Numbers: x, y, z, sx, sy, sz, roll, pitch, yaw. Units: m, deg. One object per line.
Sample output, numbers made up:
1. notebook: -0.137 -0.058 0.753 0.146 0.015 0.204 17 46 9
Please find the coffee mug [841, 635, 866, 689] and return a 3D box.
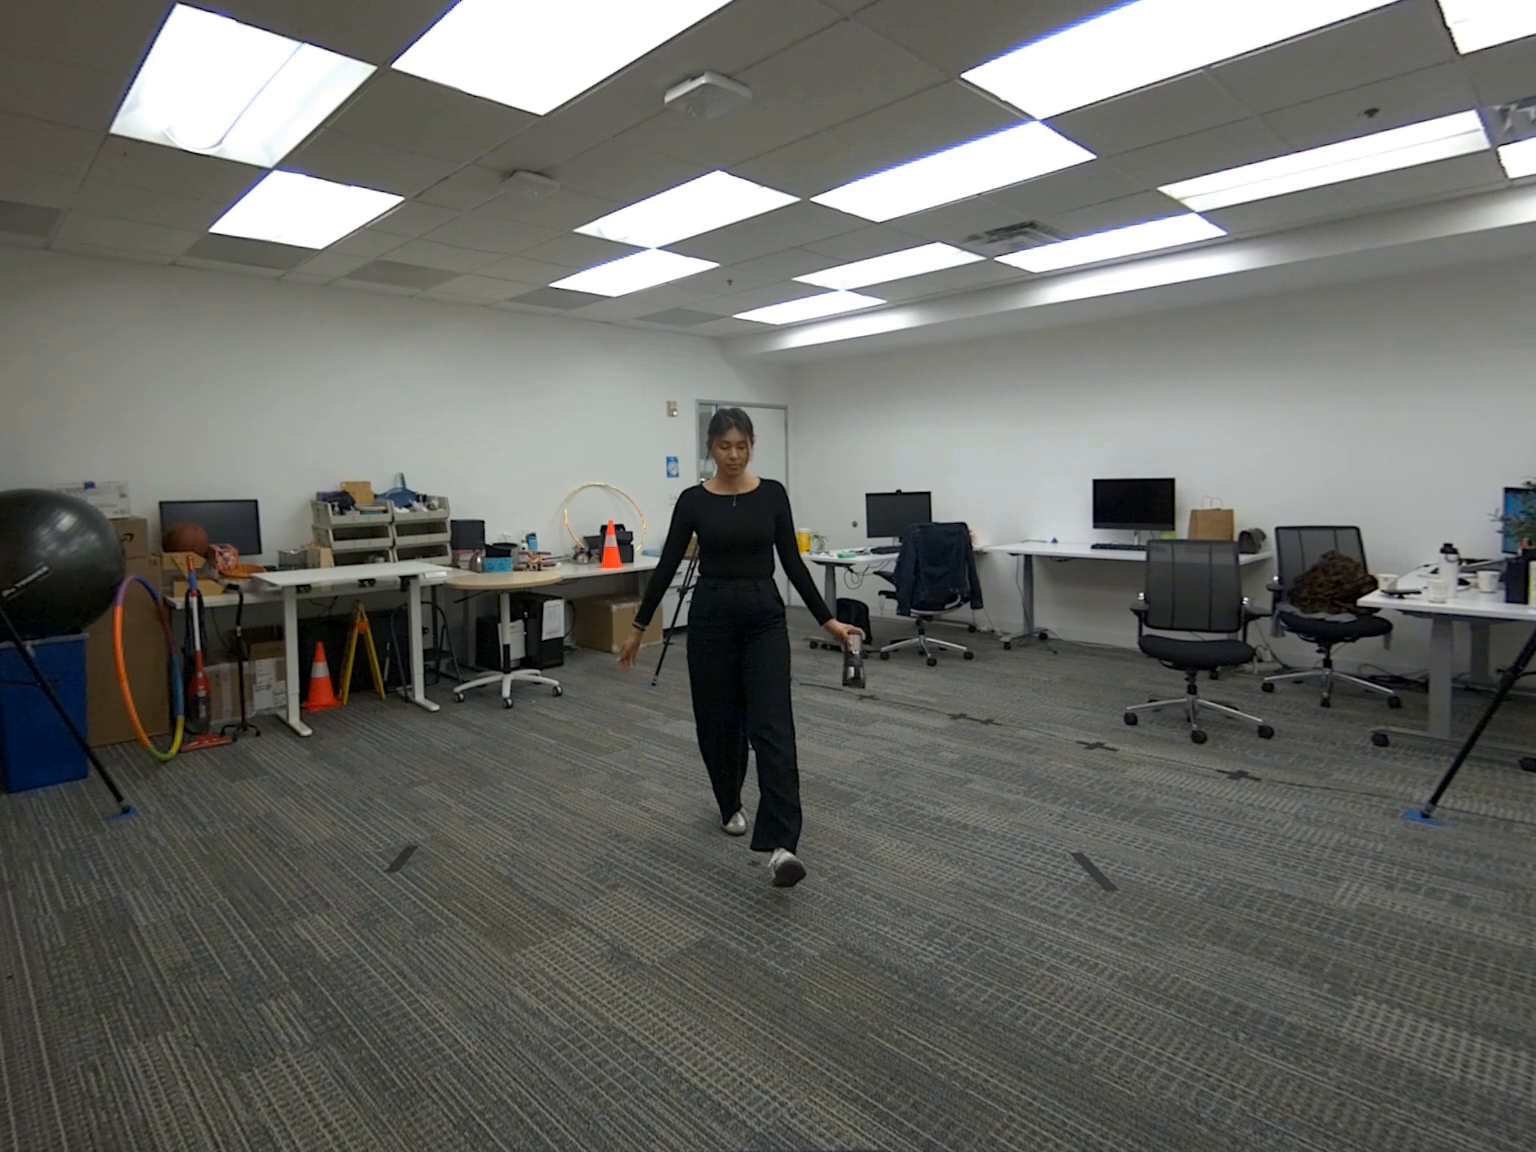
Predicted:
1. coffee mug: 0.316 0.304 3.161 0.085 0.205 0.124 13 -16 -27
